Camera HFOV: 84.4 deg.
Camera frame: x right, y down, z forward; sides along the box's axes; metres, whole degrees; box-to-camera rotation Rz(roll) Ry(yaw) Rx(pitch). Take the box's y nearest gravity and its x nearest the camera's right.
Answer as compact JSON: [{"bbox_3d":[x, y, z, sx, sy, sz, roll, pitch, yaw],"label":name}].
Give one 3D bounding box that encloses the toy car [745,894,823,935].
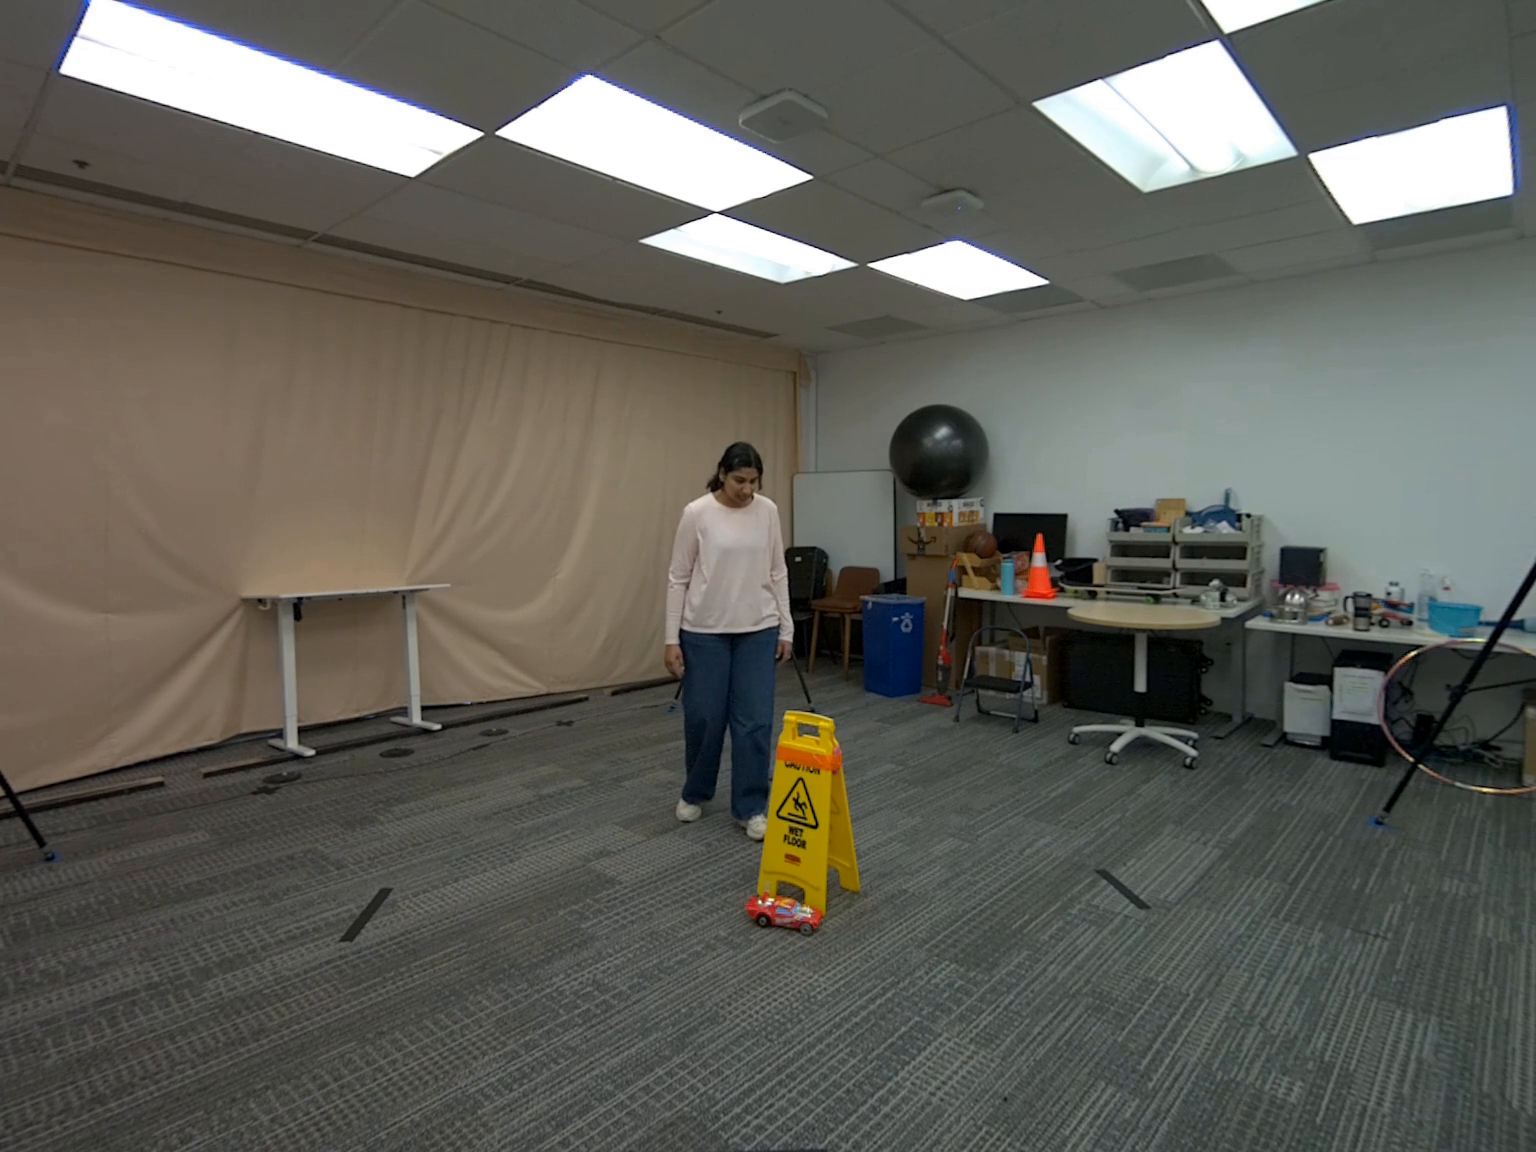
[{"bbox_3d":[0.048,1.124,2.814,0.260,0.083,0.128,13,11,18],"label":"toy car"}]
